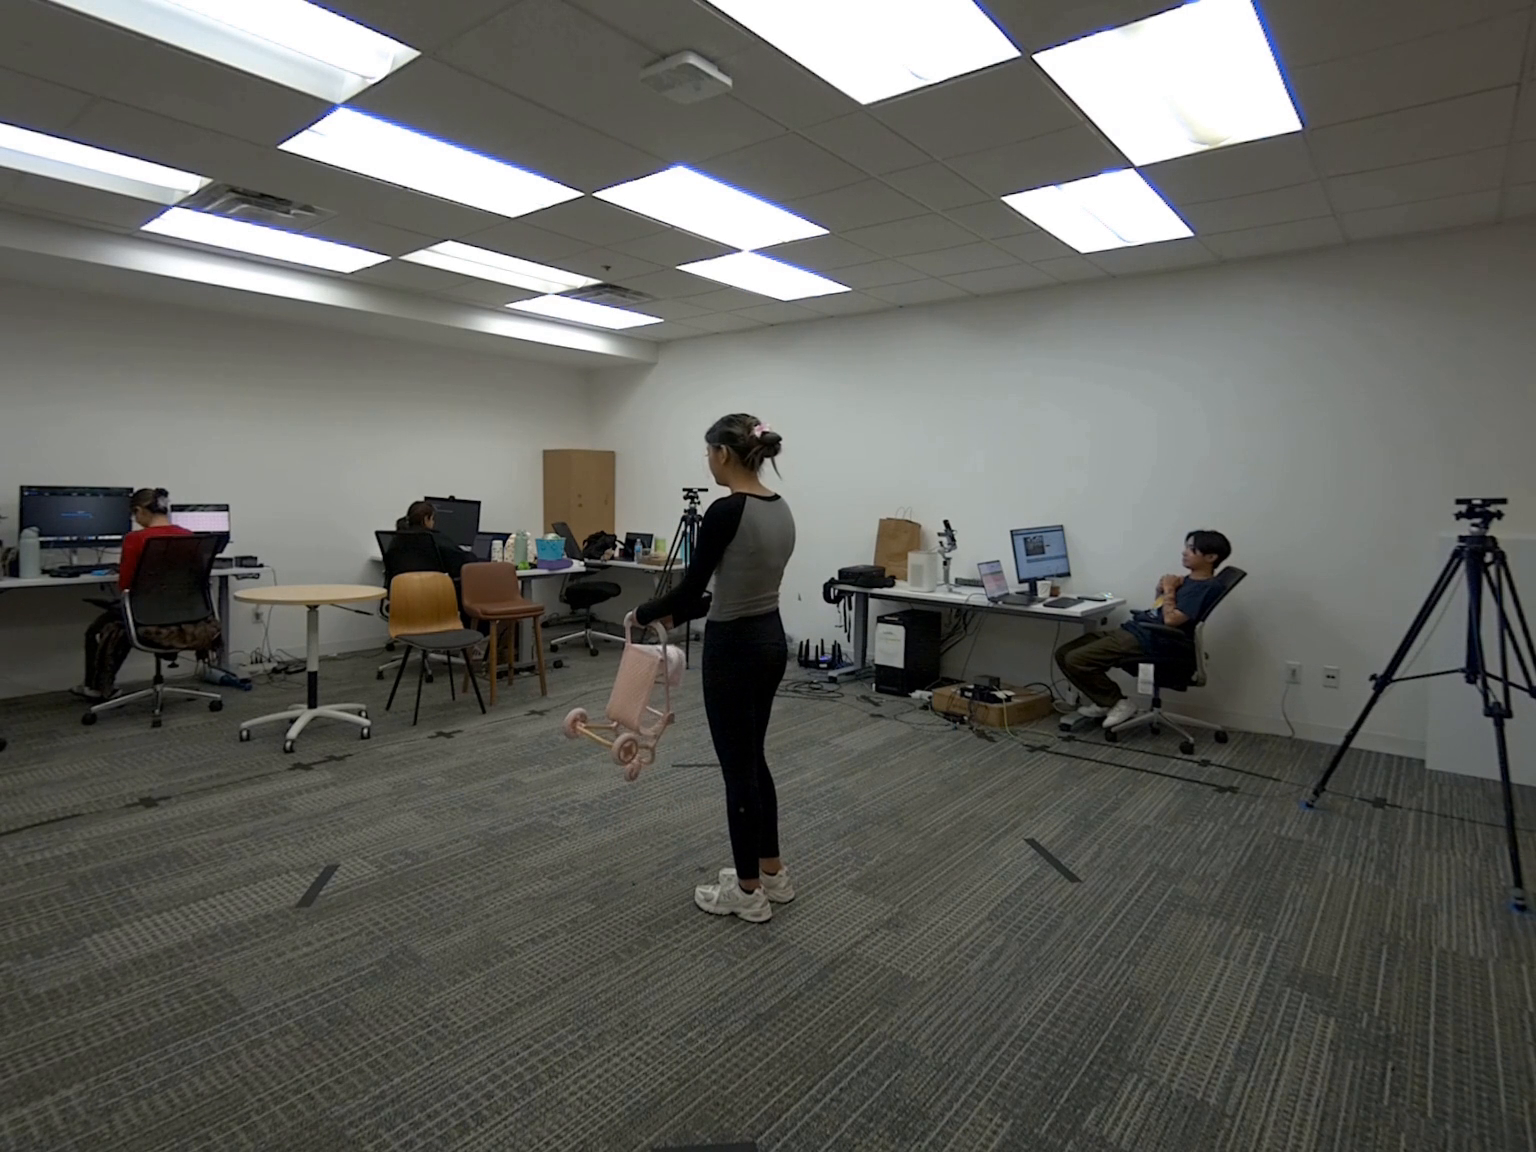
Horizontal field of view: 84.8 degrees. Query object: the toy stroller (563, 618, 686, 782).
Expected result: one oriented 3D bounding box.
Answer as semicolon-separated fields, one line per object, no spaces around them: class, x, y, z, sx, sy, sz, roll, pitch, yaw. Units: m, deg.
toy stroller;-0.465;0.447;2.992;0.292;0.538;0.327;13;-16;41
